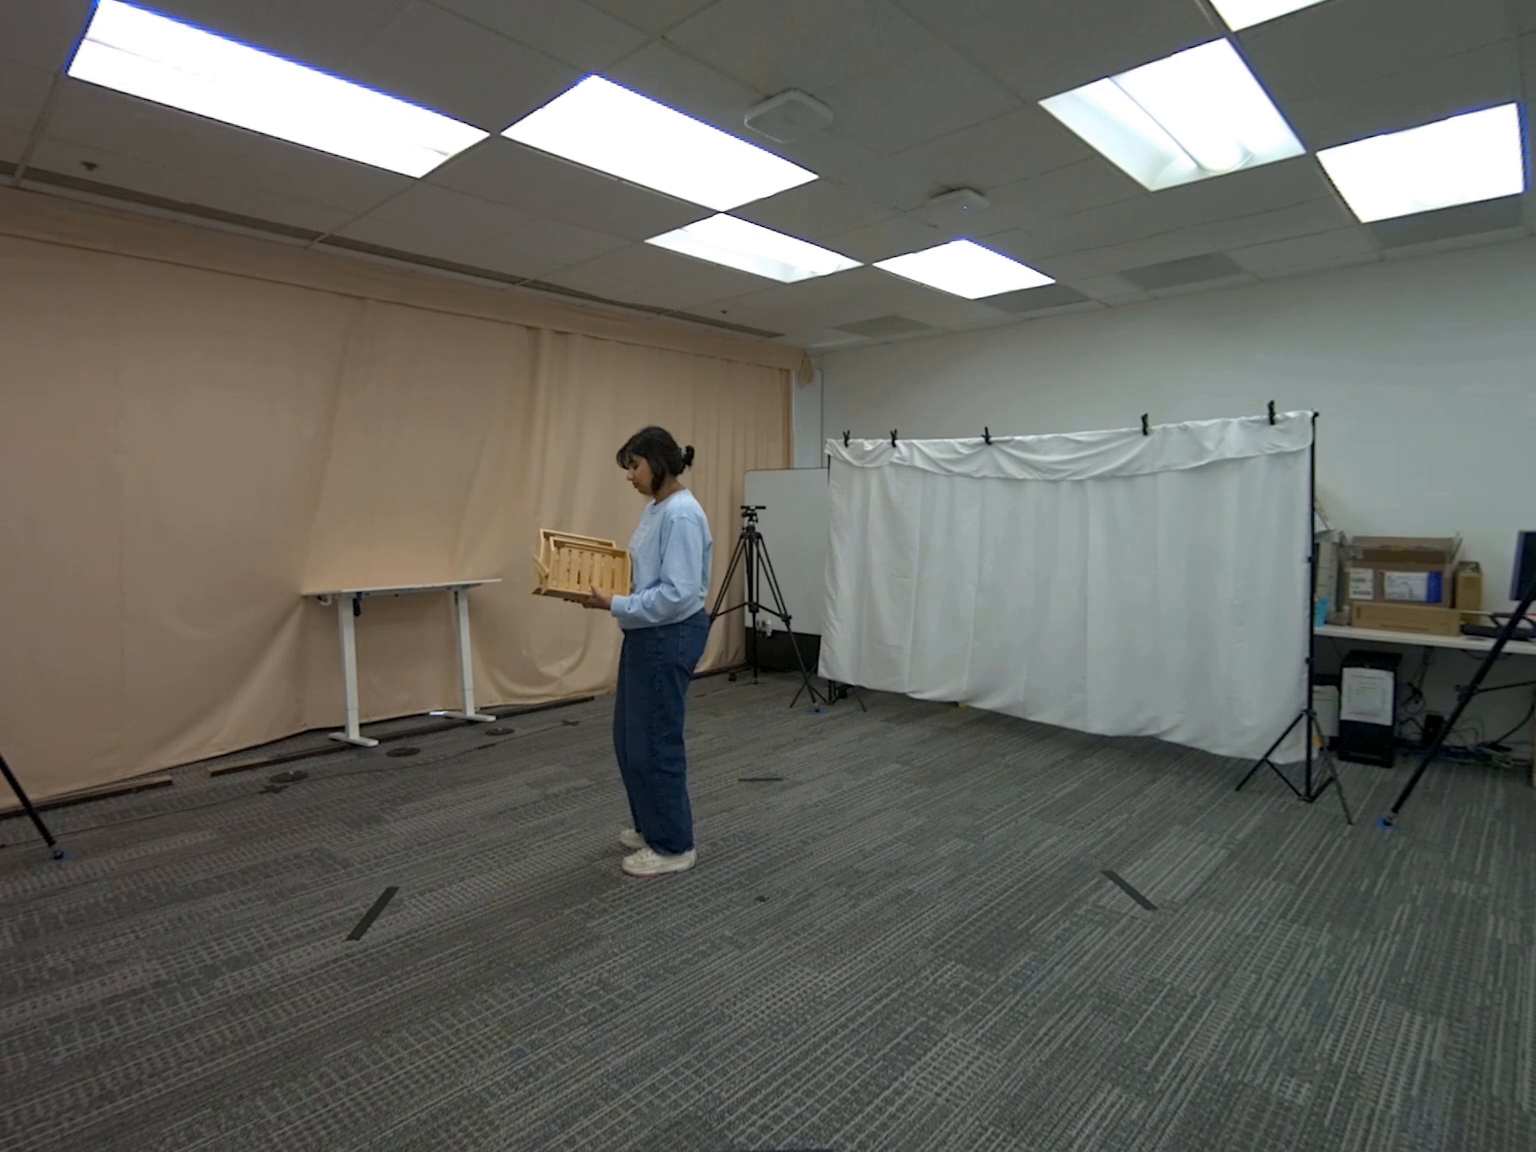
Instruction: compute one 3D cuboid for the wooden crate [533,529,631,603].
[{"bbox_3d":[-0.699,-0.039,3.160,0.316,0.305,0.277,9,-21,-26],"label":"wooden crate"}]
